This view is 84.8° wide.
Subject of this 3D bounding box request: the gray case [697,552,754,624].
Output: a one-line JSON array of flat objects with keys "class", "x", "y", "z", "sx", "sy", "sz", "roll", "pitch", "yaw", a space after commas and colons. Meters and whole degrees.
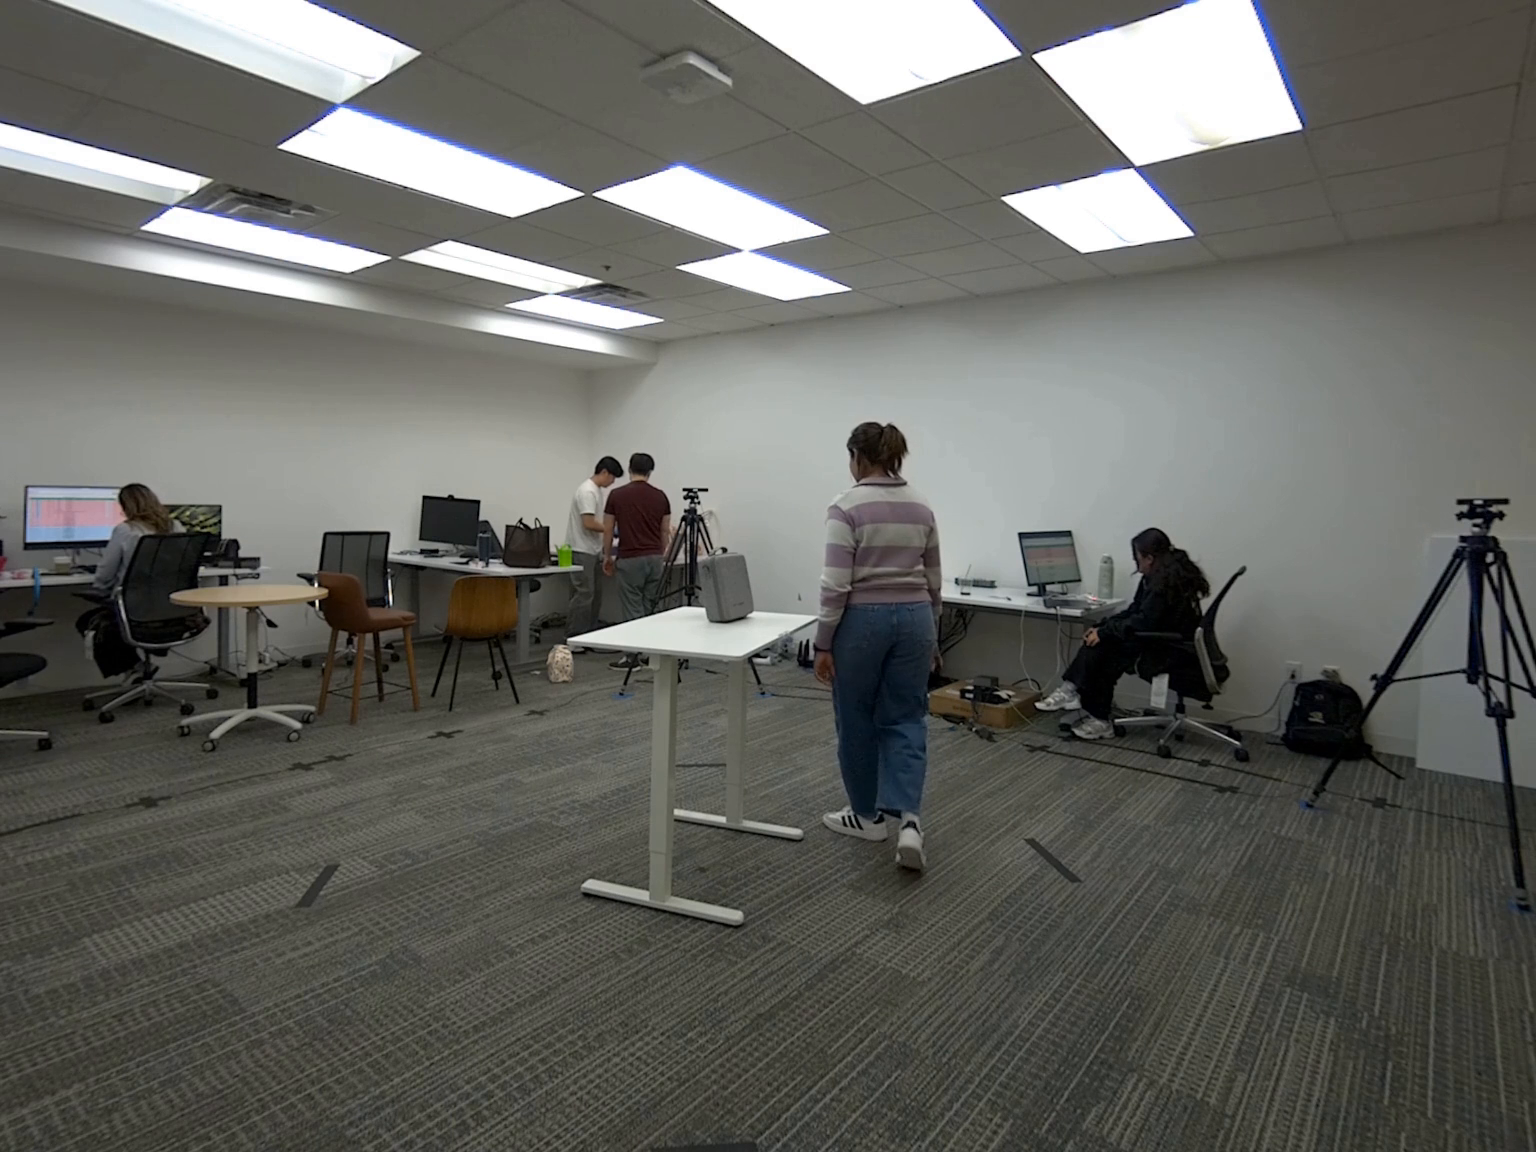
[{"class": "gray case", "x": -0.178, "y": 0.035, "z": 3.334, "sx": 0.106, "sy": 0.262, "sz": 0.251, "roll": -11, "pitch": -3, "yaw": 25}]
